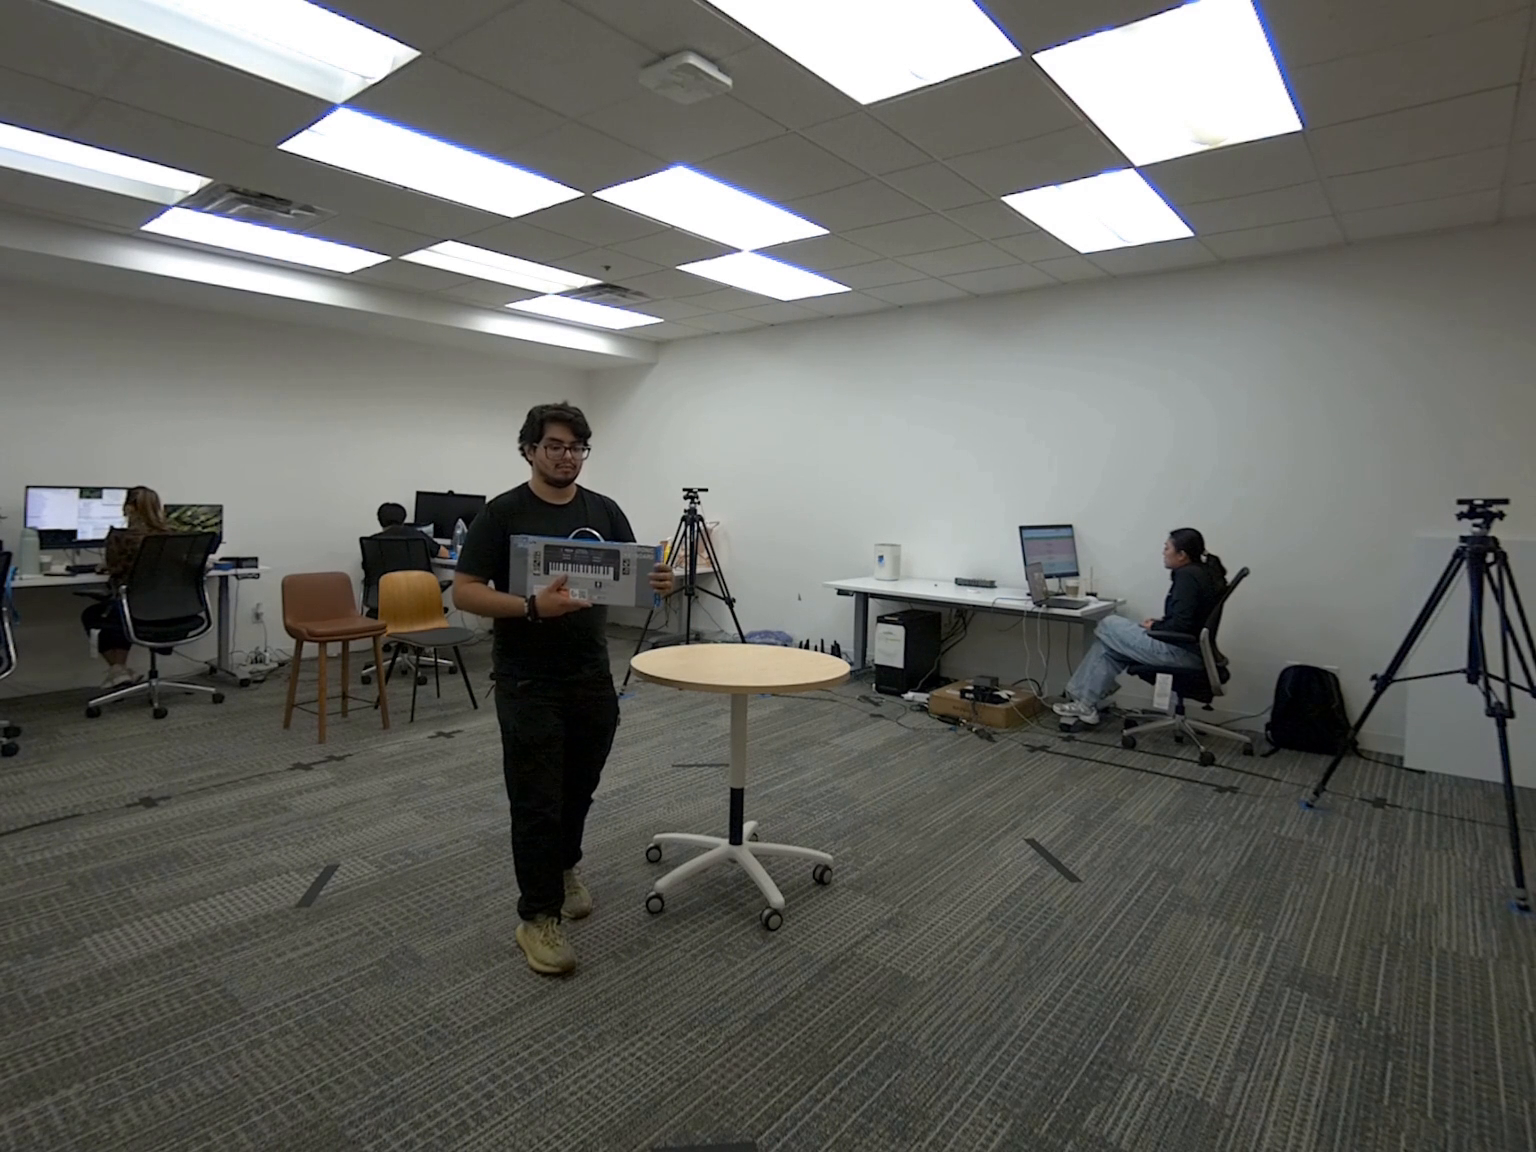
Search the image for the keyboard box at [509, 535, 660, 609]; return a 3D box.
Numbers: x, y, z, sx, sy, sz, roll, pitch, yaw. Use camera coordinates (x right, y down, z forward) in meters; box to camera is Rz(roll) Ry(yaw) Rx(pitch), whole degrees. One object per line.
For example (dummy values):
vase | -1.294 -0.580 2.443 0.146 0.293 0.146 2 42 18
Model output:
keyboard box | -0.519 -0.019 2.364 0.443 0.175 0.058 4 4 13
